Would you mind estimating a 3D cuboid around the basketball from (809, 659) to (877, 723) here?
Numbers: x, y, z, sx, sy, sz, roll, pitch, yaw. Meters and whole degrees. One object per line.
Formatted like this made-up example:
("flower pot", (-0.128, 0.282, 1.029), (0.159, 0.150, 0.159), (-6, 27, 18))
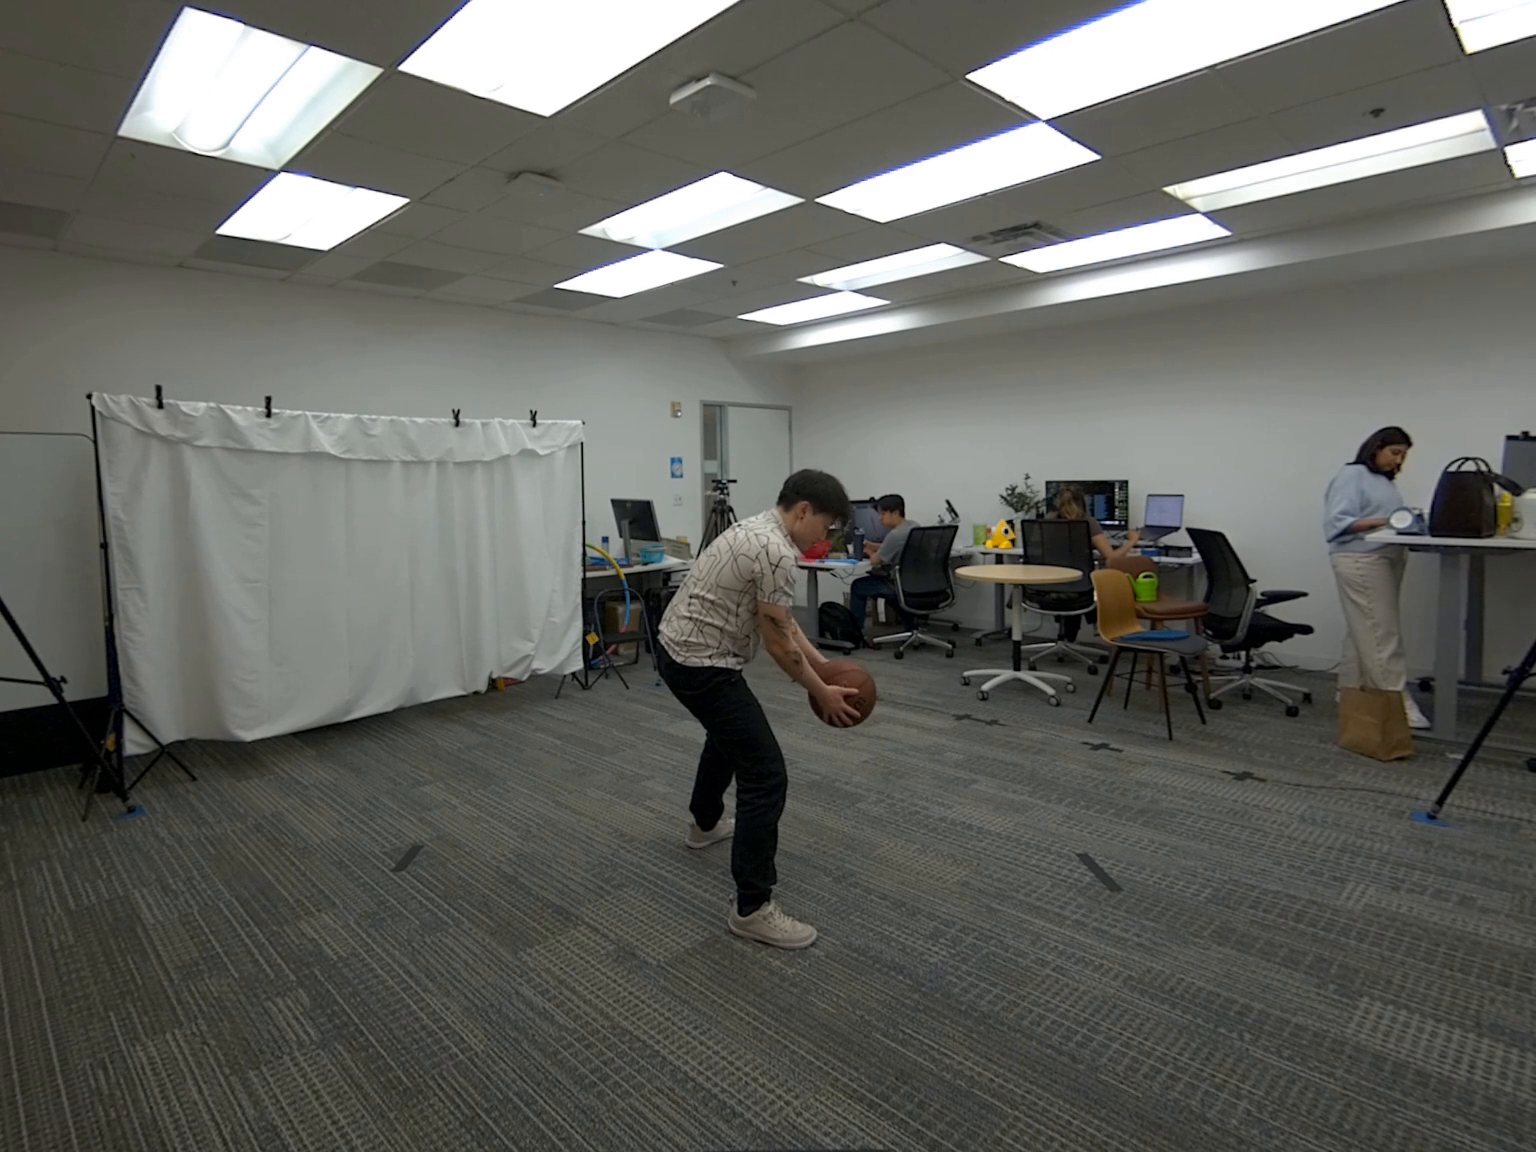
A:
("basketball", (0.258, 0.399, 2.983), (0.236, 0.235, 0.237), (-1, 5, -2))
